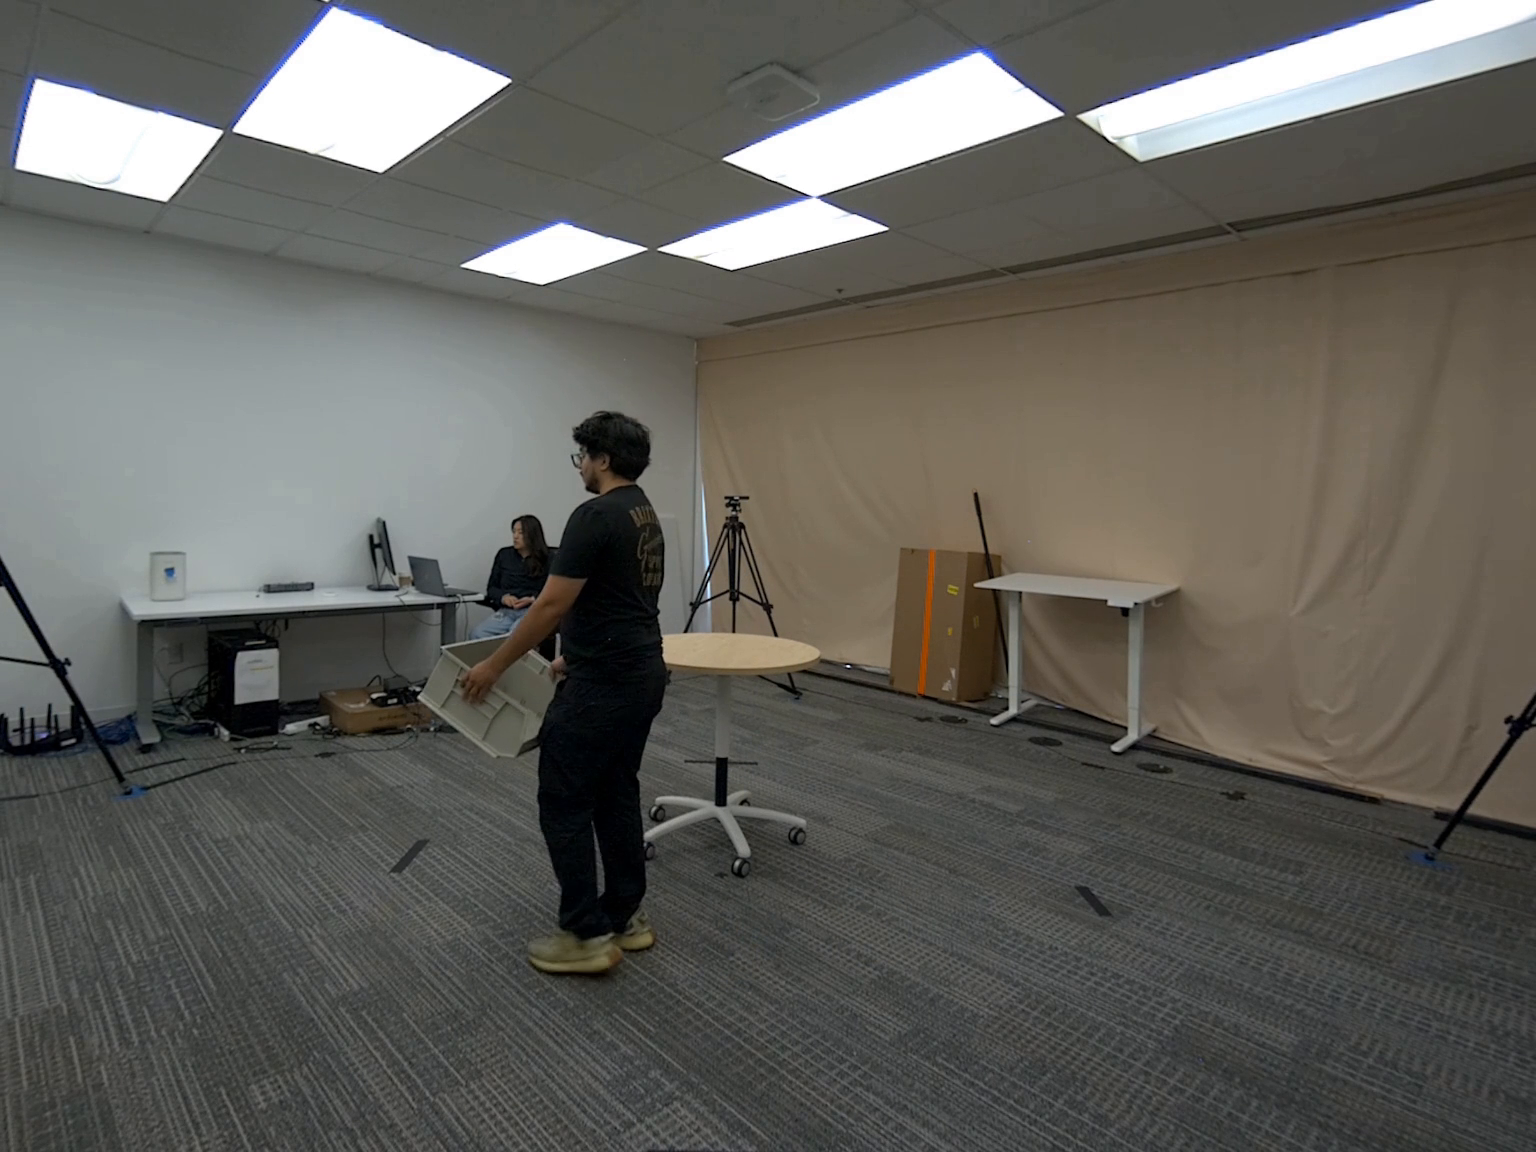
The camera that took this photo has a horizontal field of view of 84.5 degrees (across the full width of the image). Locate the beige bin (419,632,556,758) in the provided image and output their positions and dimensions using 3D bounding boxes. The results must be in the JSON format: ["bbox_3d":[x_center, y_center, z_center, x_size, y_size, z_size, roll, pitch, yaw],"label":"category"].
[{"bbox_3d":[-0.822,0.385,2.690,0.382,0.188,0.418,33,8,11],"label":"beige bin"}]
